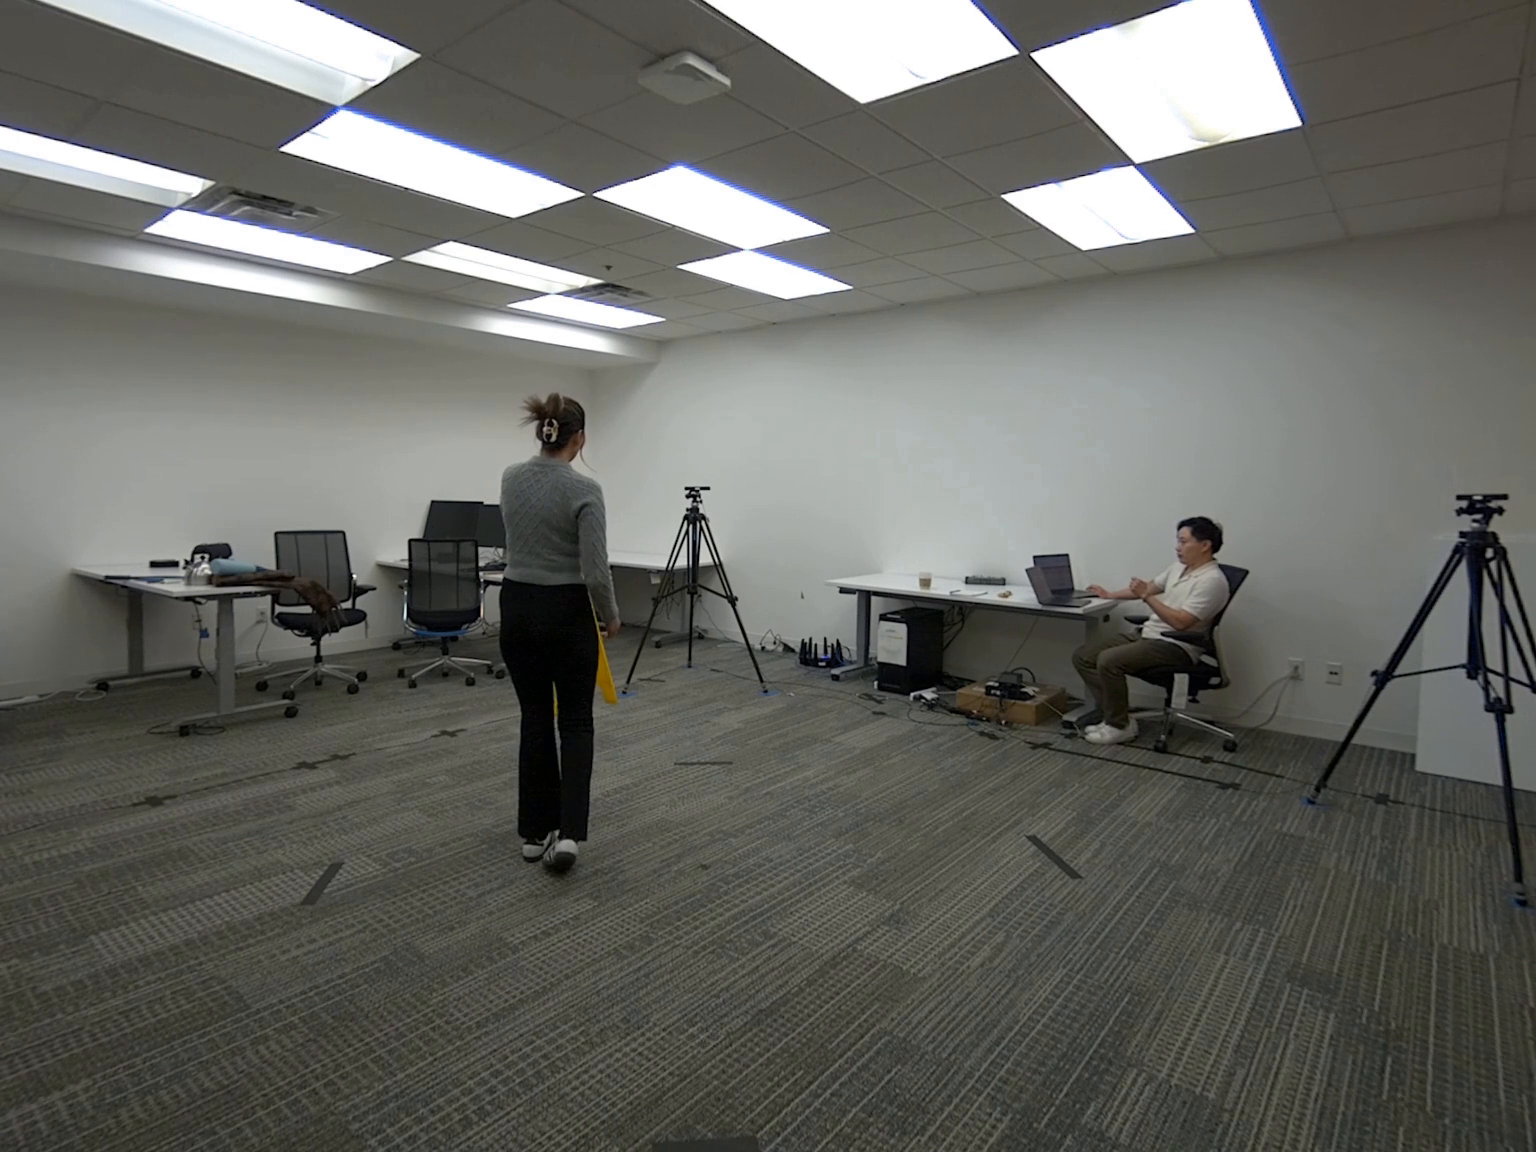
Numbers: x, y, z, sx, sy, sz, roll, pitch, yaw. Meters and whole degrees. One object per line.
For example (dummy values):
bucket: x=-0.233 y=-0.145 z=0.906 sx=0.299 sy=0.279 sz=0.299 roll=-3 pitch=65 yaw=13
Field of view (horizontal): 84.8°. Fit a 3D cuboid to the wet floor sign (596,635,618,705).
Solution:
wet floor sign: x=-0.870 y=0.234 z=3.639 sx=0.291 sy=0.646 sz=0.281 roll=-4 pitch=0 yaw=40
